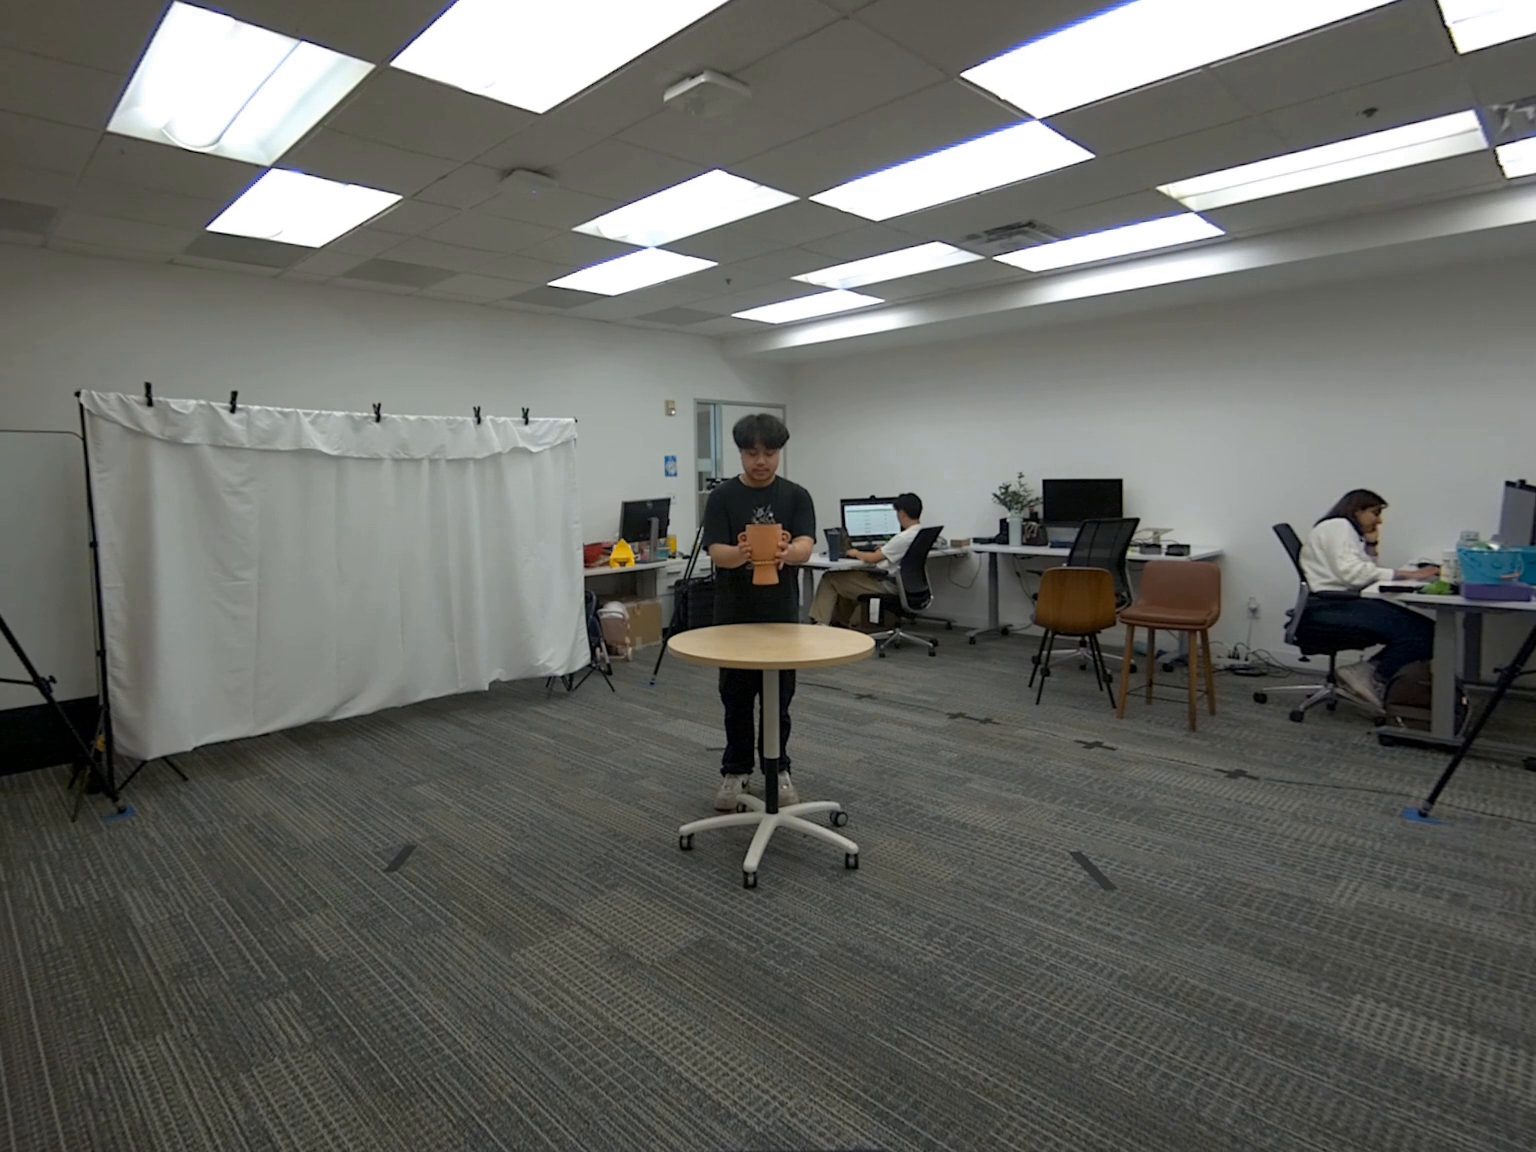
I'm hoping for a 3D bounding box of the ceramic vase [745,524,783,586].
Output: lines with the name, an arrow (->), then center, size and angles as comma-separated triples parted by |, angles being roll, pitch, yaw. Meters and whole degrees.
ceramic vase -> -0.014, -0.080, 3.227 | 0.164, 0.219, 0.131 | 3, 5, 42
